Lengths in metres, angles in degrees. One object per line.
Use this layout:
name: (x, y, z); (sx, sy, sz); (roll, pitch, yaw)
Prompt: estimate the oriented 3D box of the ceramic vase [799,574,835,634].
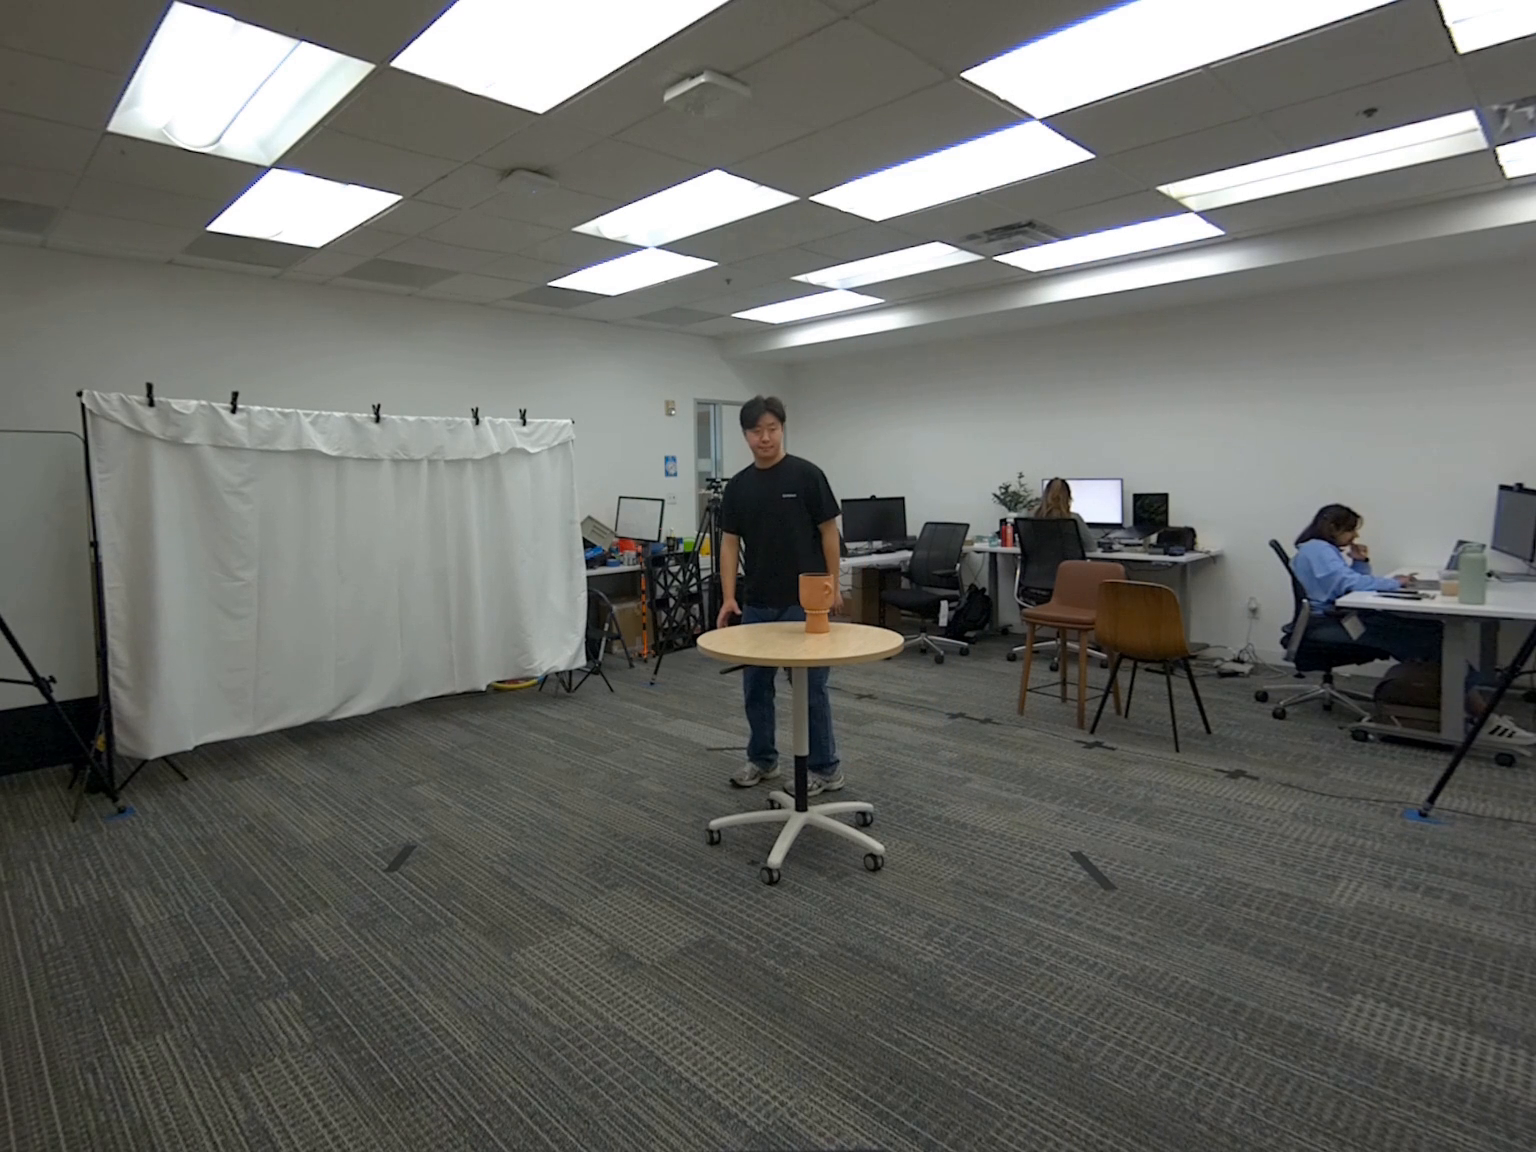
ceramic vase: (0.191, 0.110, 3.335); (0.136, 0.219, 0.158); (-2, 4, 10)
